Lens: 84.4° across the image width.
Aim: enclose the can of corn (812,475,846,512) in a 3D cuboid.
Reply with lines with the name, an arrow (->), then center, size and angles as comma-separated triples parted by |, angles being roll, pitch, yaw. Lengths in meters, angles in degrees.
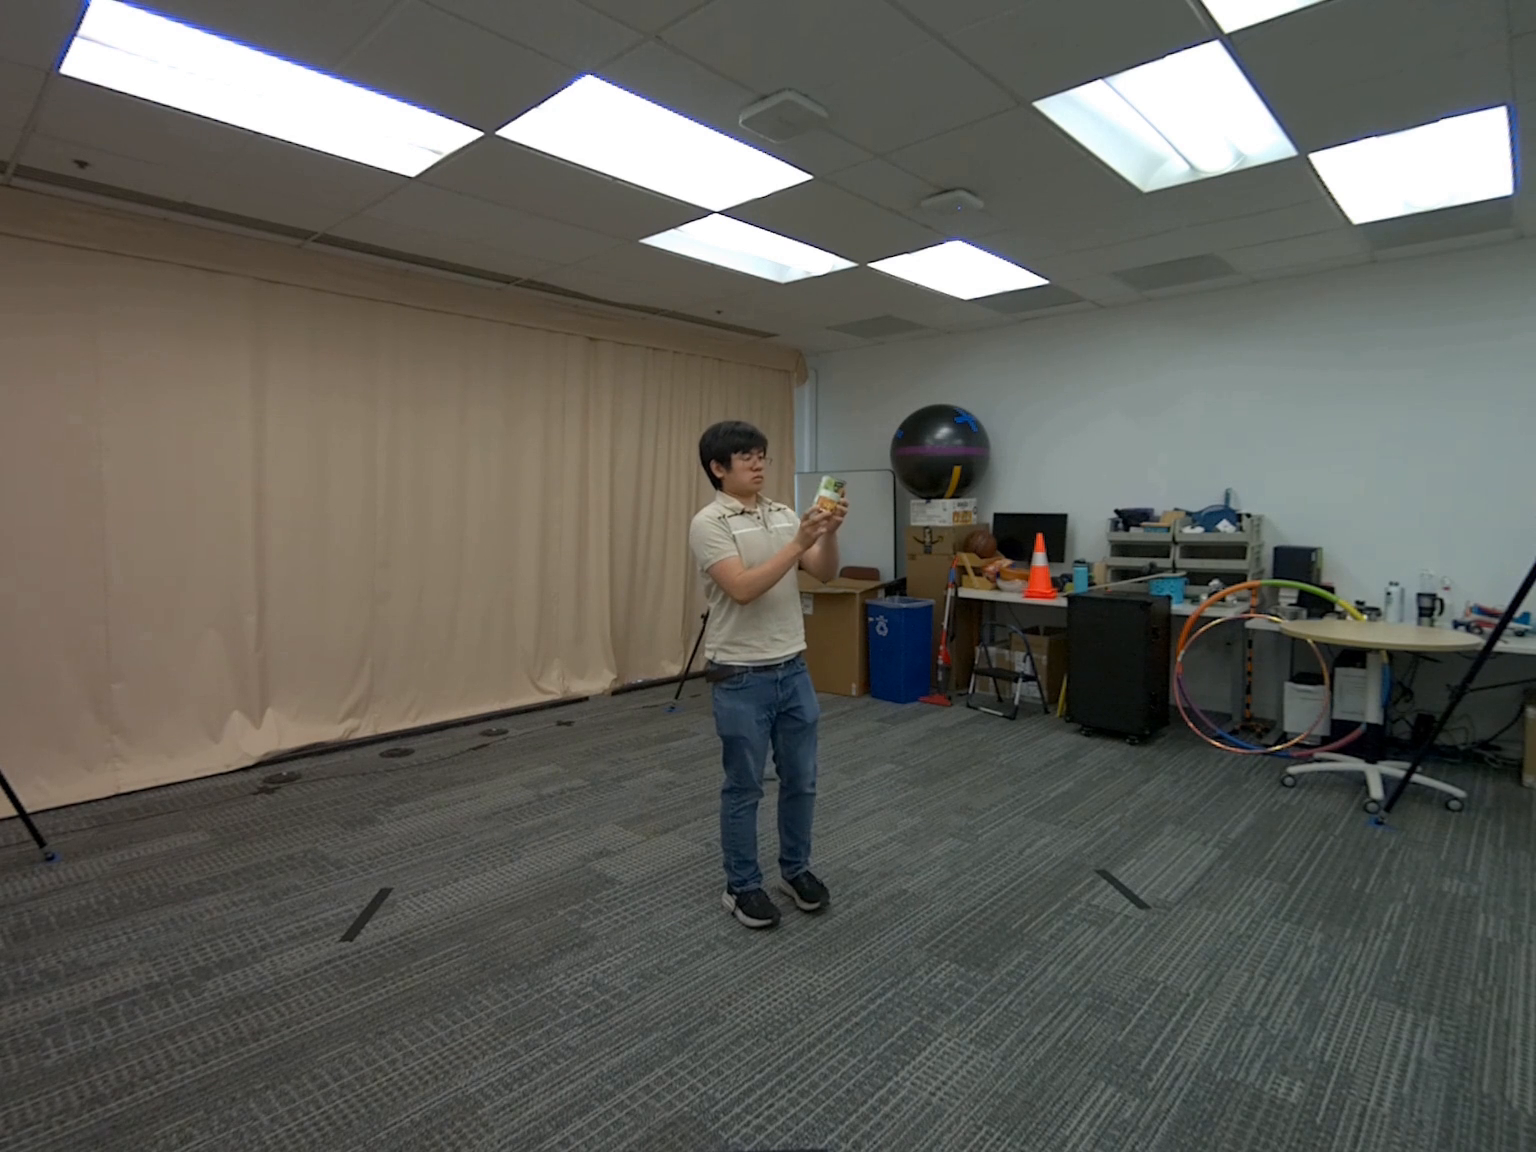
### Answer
can of corn -> 0.188, -0.250, 2.608 | 0.074, 0.111, 0.074 | 19, 1, -2
